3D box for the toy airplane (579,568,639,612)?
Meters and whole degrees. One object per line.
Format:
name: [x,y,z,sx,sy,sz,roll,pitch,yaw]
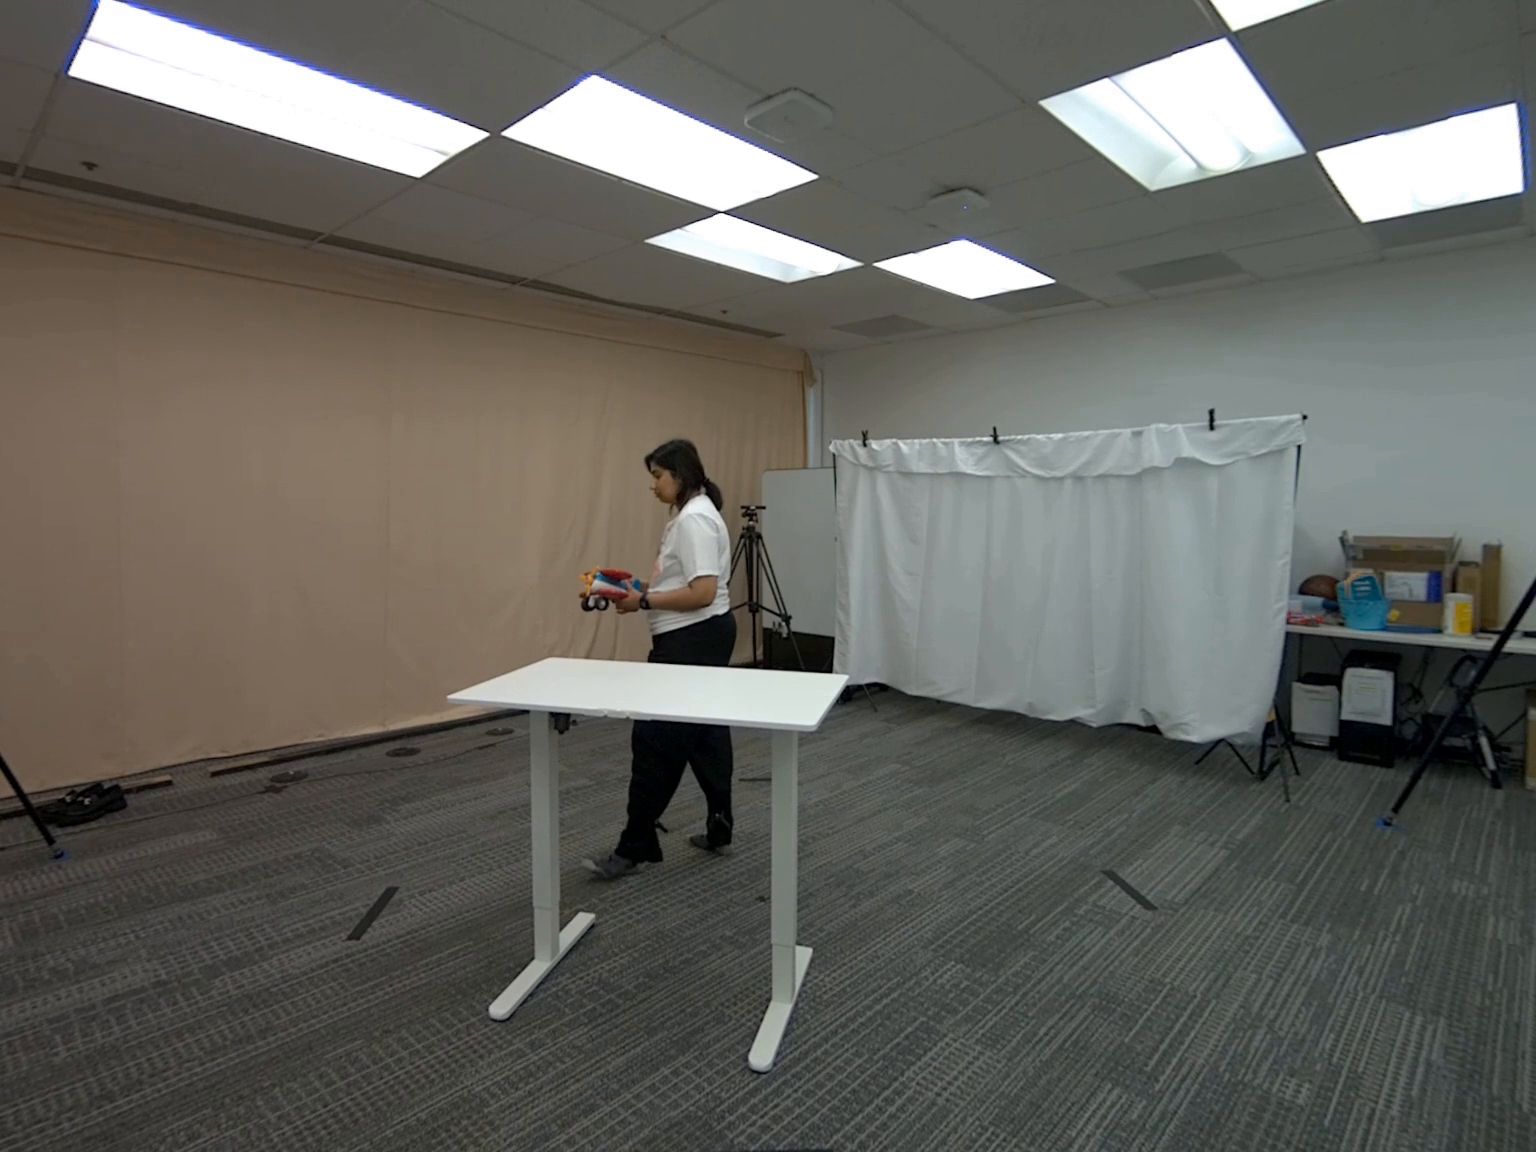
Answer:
toy airplane: [-0.621,0.062,3.245,0.254,0.157,0.254,-3,-6,12]
